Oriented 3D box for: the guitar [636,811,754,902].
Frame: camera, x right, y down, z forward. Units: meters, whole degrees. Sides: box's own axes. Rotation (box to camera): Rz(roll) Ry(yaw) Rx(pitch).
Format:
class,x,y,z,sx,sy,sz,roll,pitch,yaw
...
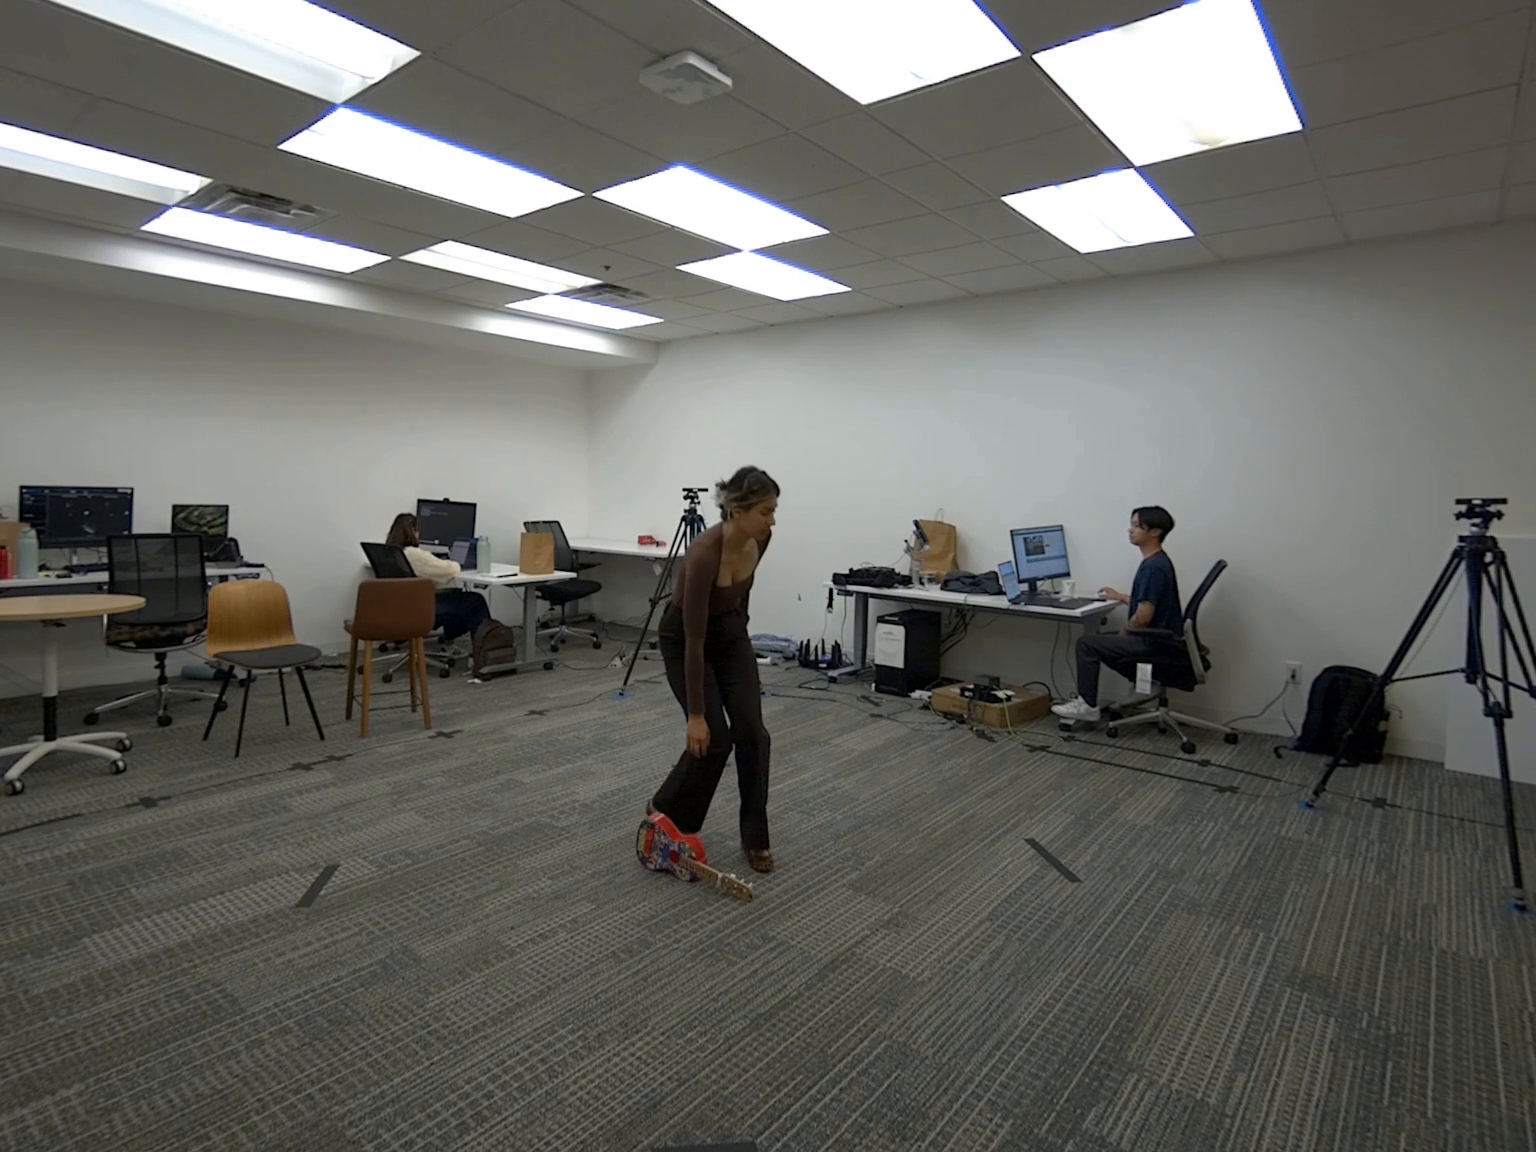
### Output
class,x,y,z,sx,sy,sz,roll,pitch,yaw
guitar,-0.275,1.033,3.013,0.515,0.191,0.069,25,14,29
